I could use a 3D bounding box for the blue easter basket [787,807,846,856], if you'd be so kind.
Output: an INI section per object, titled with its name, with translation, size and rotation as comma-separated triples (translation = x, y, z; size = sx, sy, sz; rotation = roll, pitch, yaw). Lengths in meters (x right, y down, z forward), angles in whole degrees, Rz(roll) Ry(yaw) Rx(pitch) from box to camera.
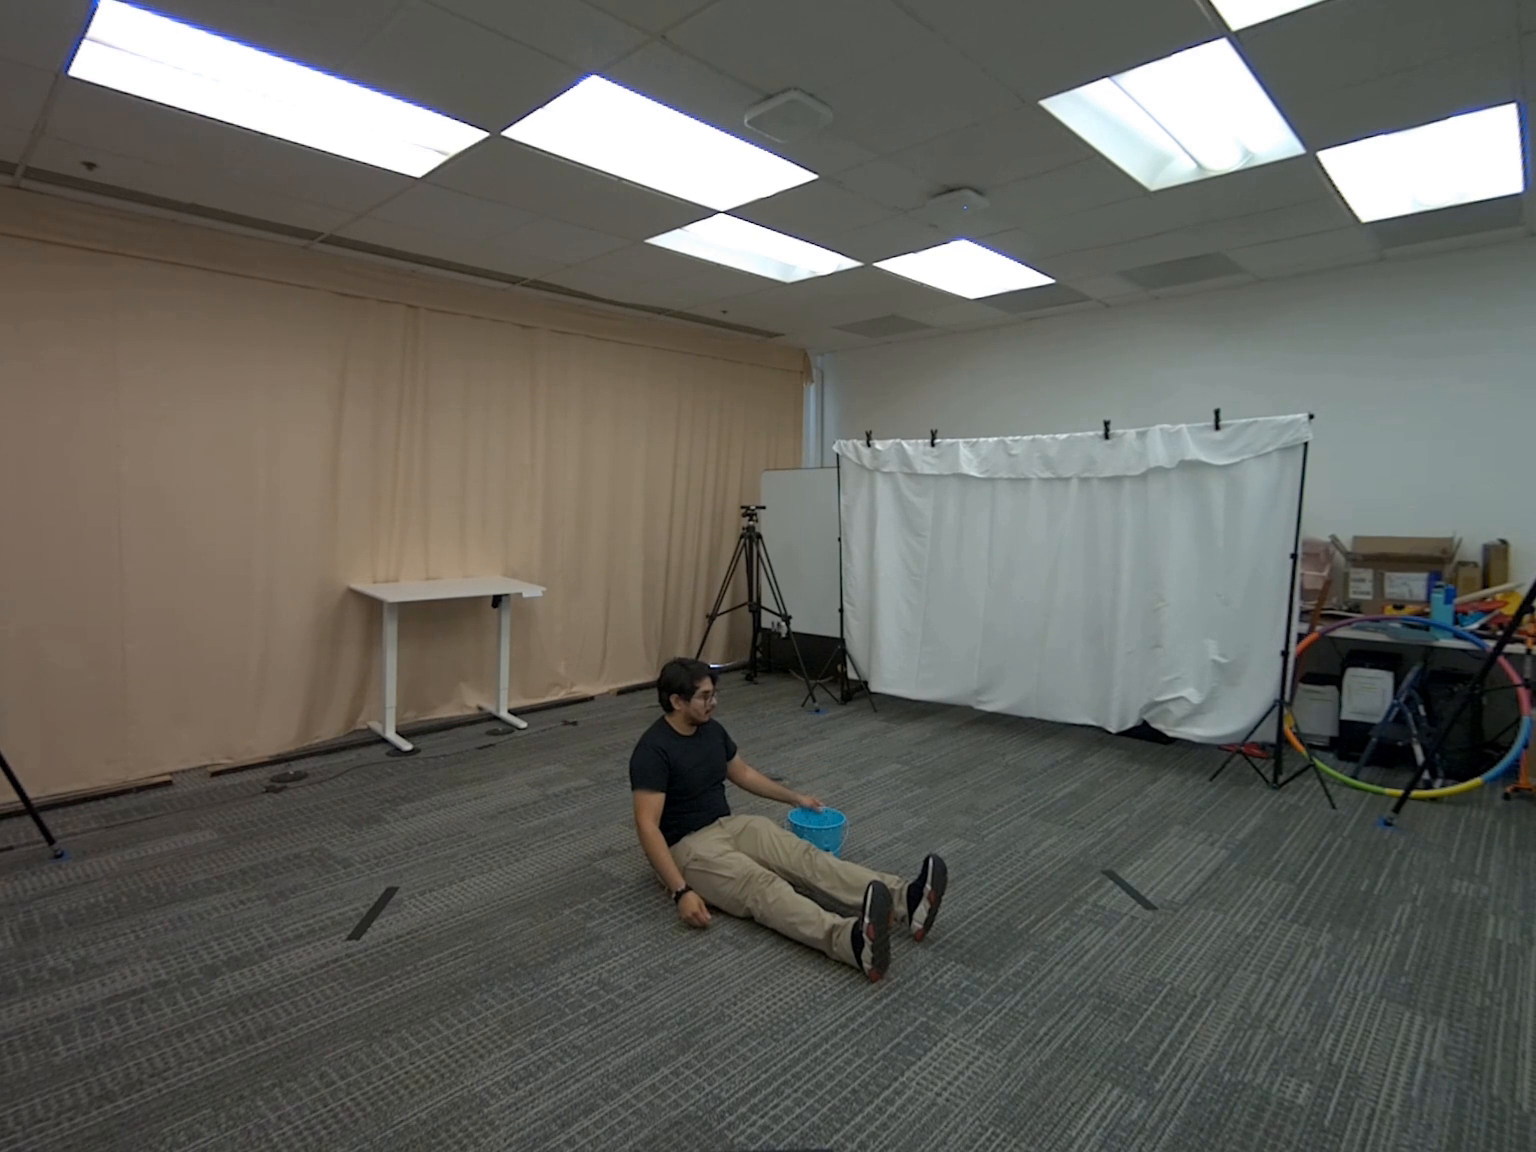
[blue easter basket]
translation = 0.194, 1.031, 3.354
size = 0.243, 0.155, 0.244
rotation = 1, 4, -2
